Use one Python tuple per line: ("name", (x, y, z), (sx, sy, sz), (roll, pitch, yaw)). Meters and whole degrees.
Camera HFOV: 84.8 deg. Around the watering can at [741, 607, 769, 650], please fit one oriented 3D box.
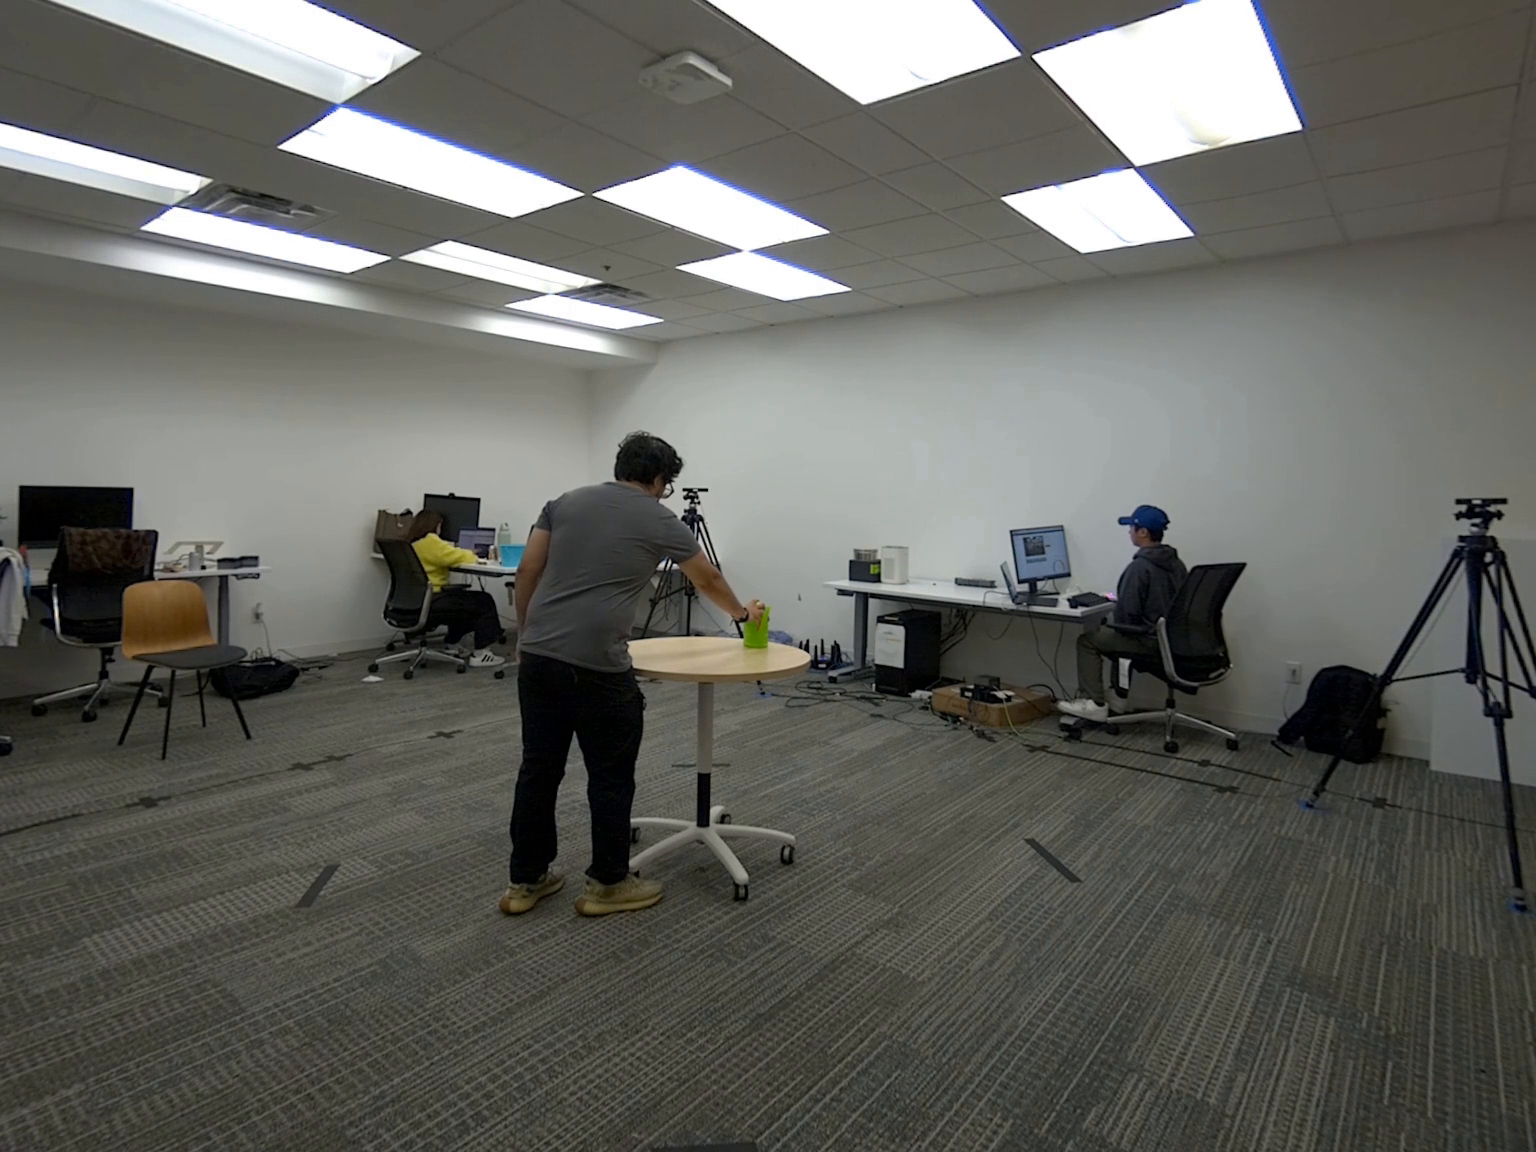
("watering can", (-0.063, 0.190, 3.300), (0.098, 0.177, 0.279), (2, 1, -3))
